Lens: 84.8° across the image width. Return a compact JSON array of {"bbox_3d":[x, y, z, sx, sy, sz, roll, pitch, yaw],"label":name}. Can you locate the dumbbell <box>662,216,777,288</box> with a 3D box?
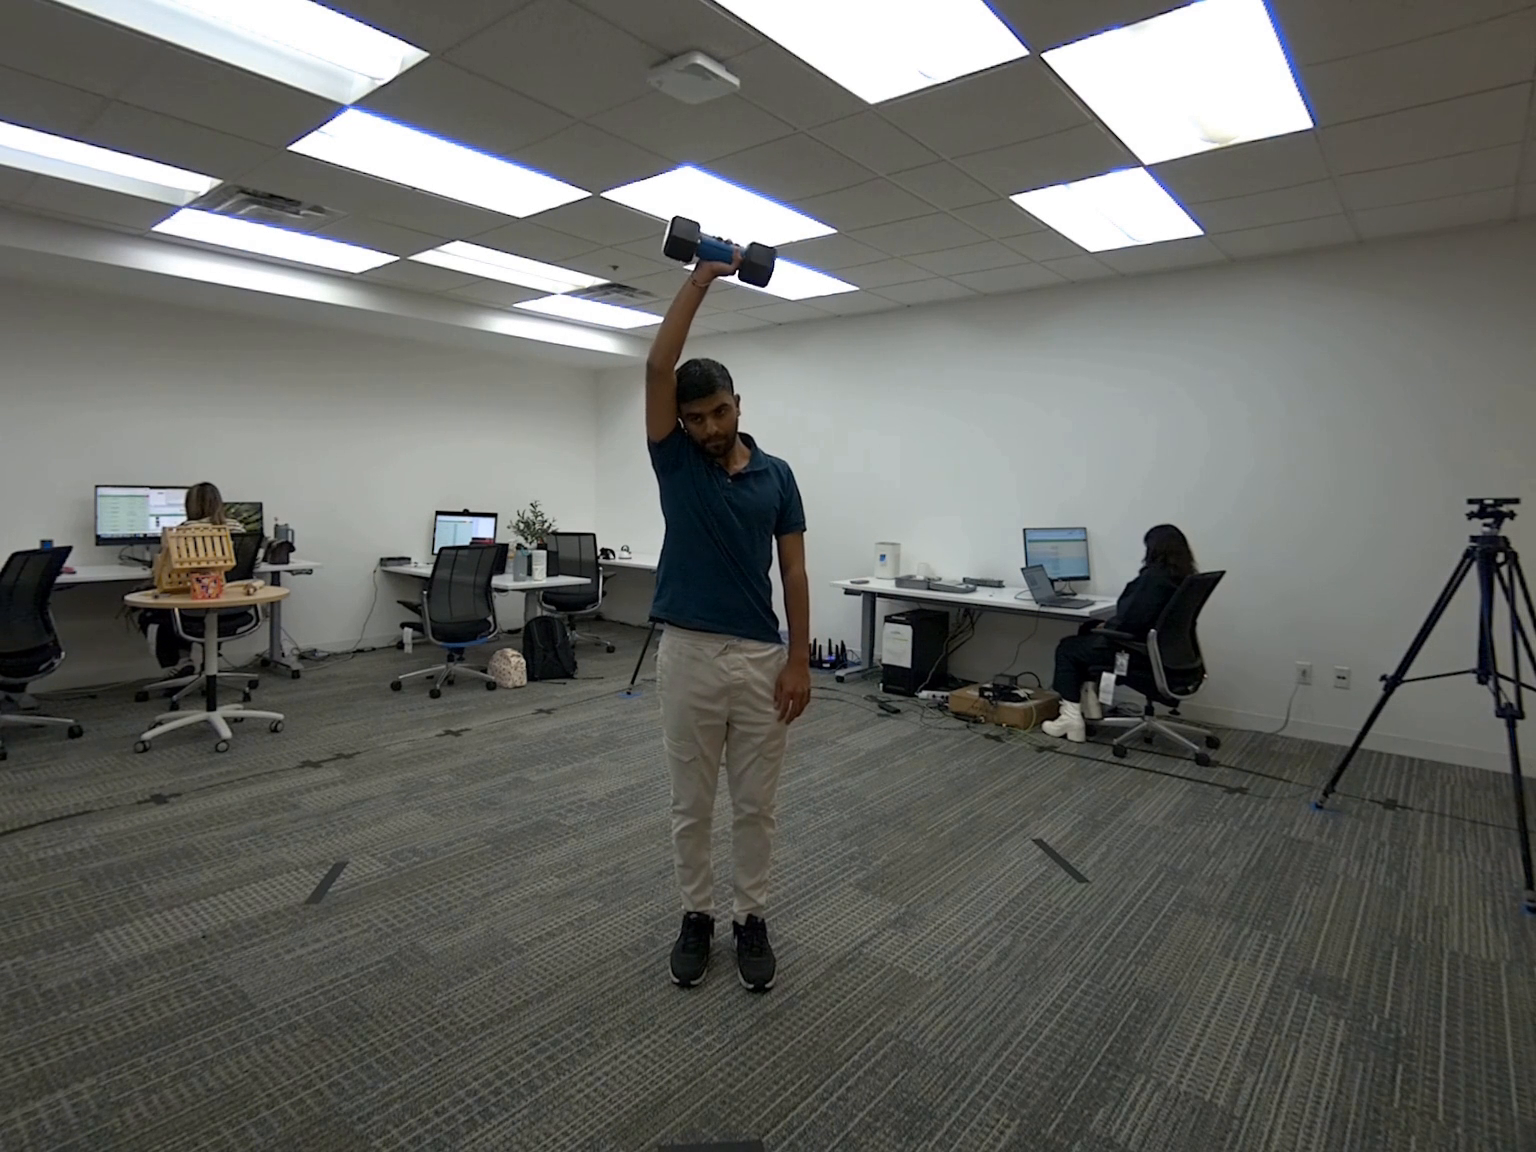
[{"bbox_3d":[-0.143,-0.855,2.241,0.289,0.108,0.126,14,15,-13],"label":"dumbbell"}]
